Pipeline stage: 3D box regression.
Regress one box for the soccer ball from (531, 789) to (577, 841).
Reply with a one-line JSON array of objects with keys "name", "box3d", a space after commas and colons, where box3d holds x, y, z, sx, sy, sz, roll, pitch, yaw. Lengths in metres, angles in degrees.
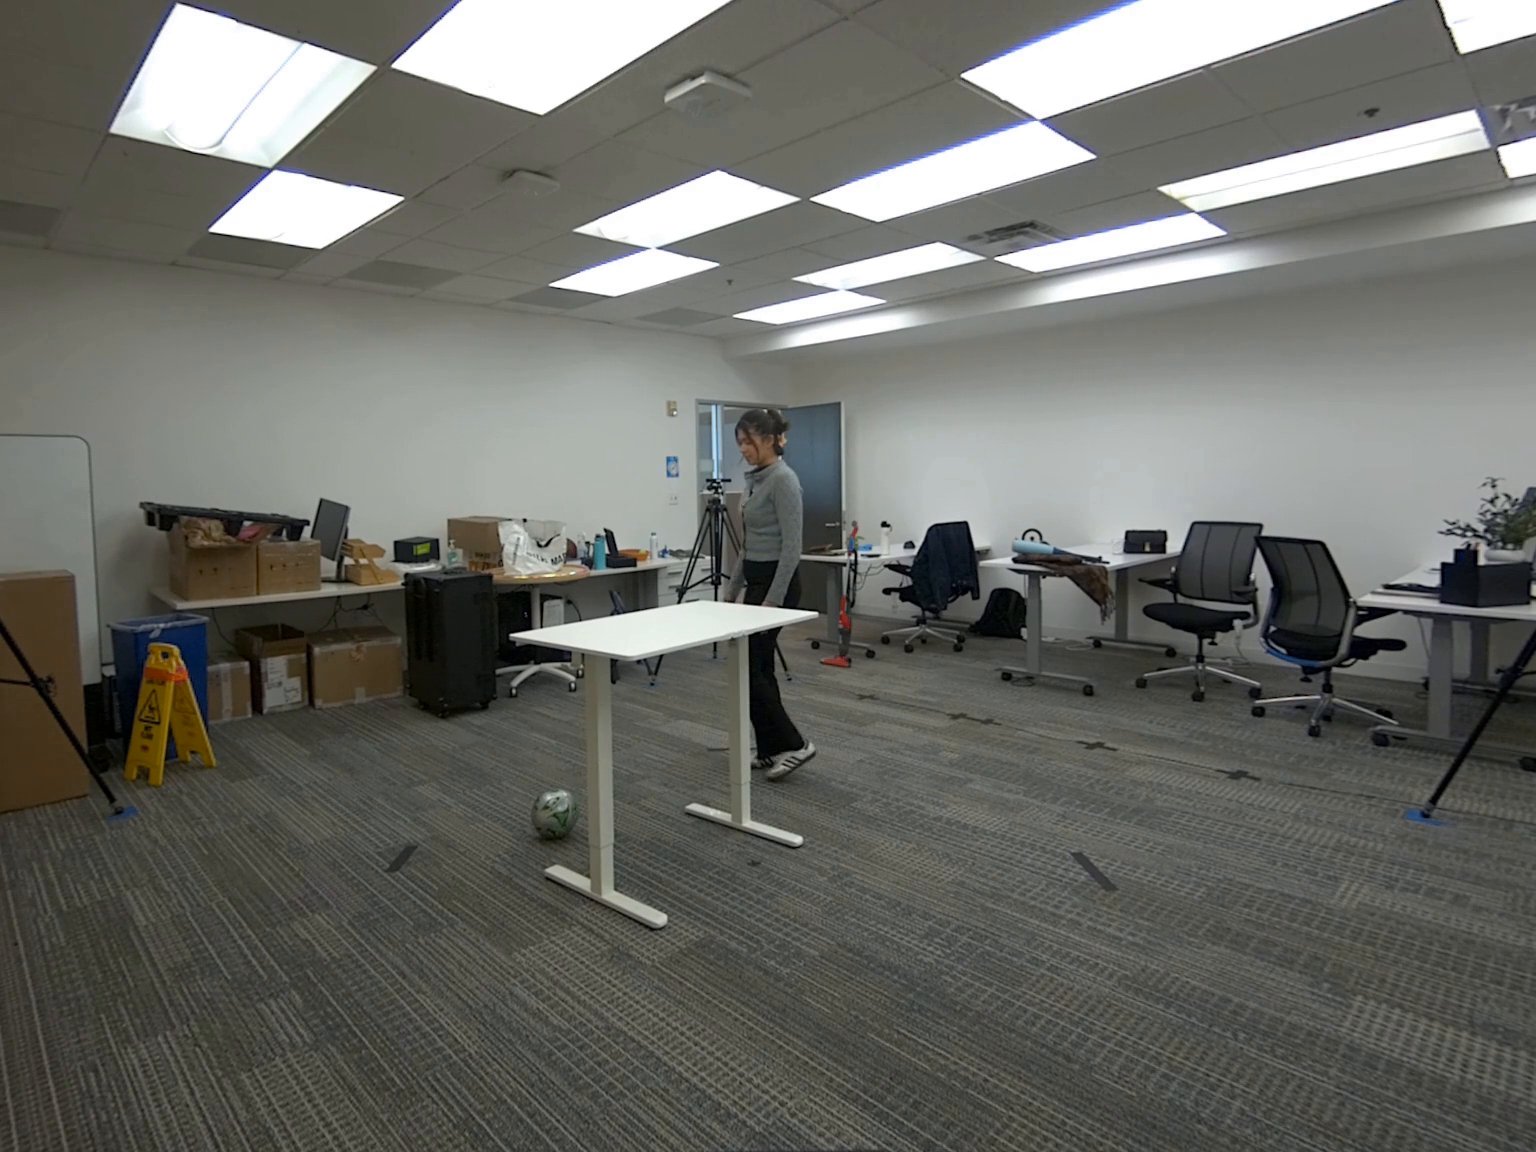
[{"name": "soccer ball", "box3d": [-0.844, 0.935, 3.371, 0.187, 0.187, 0.188, -1, 5, -2]}]
